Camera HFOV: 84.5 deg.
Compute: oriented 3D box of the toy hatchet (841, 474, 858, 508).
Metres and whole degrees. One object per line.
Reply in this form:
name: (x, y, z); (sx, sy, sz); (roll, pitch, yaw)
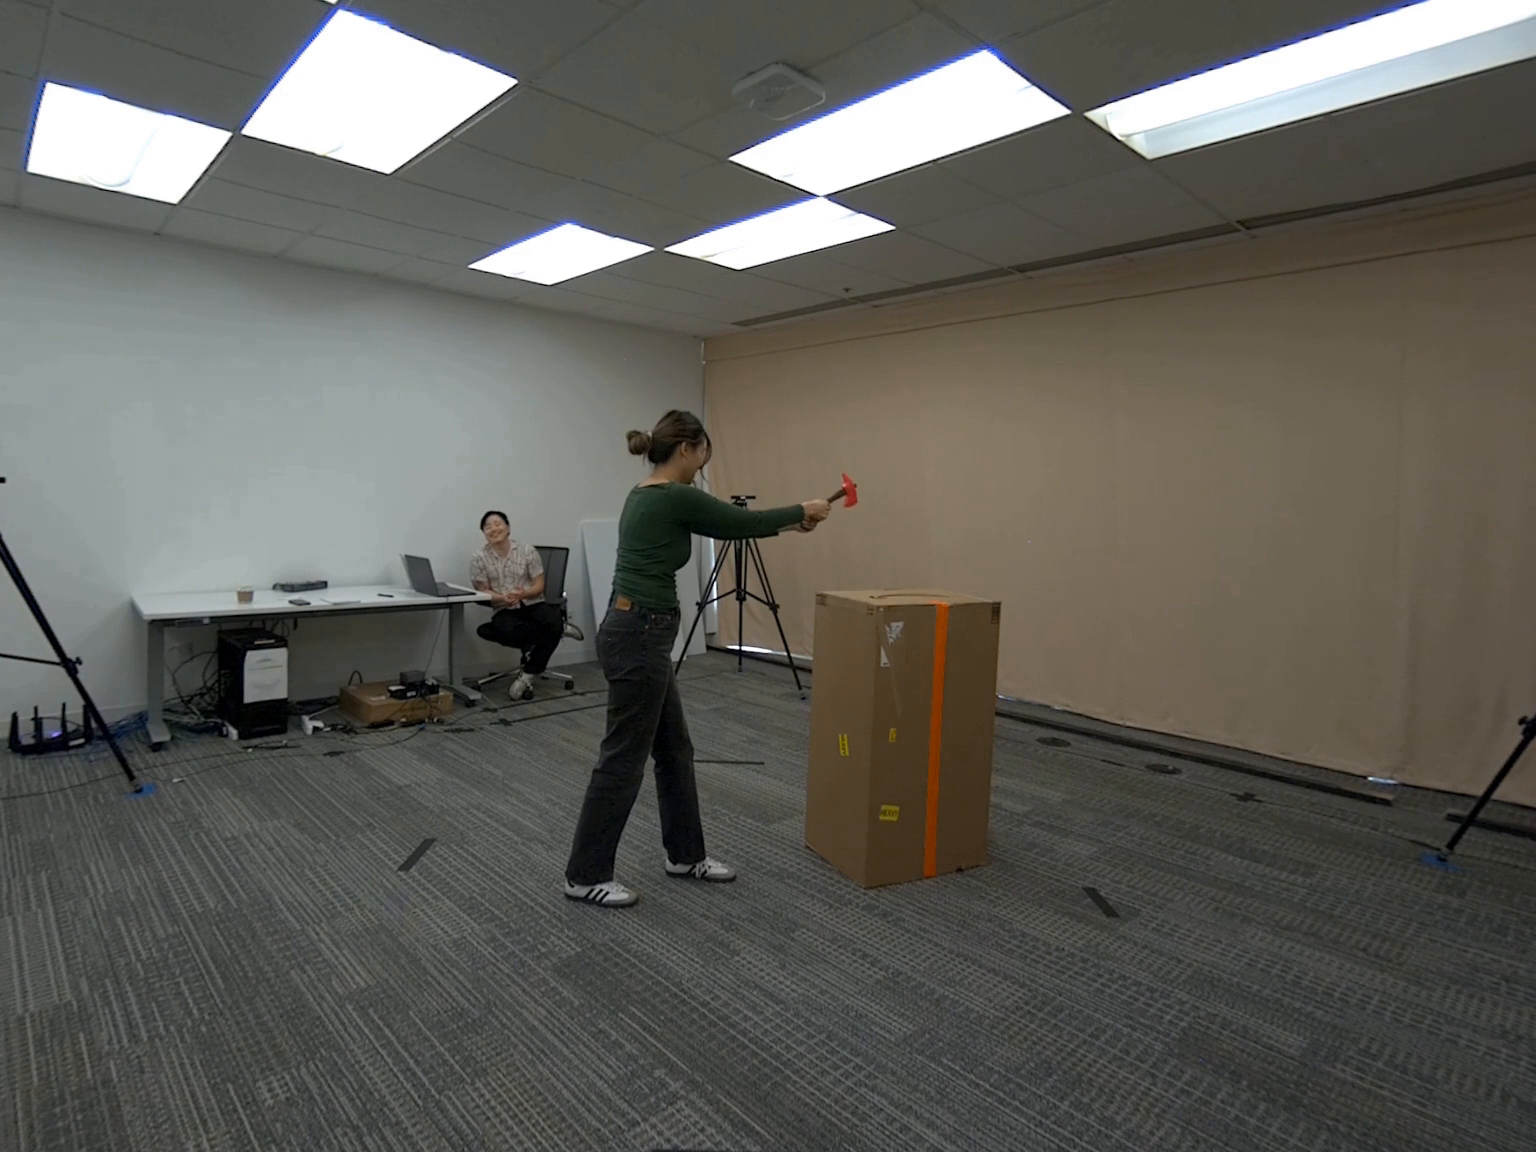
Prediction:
toy hatchet: (0.235, -0.253, 3.158); (0.128, 0.270, 0.030); (46, -14, -27)
